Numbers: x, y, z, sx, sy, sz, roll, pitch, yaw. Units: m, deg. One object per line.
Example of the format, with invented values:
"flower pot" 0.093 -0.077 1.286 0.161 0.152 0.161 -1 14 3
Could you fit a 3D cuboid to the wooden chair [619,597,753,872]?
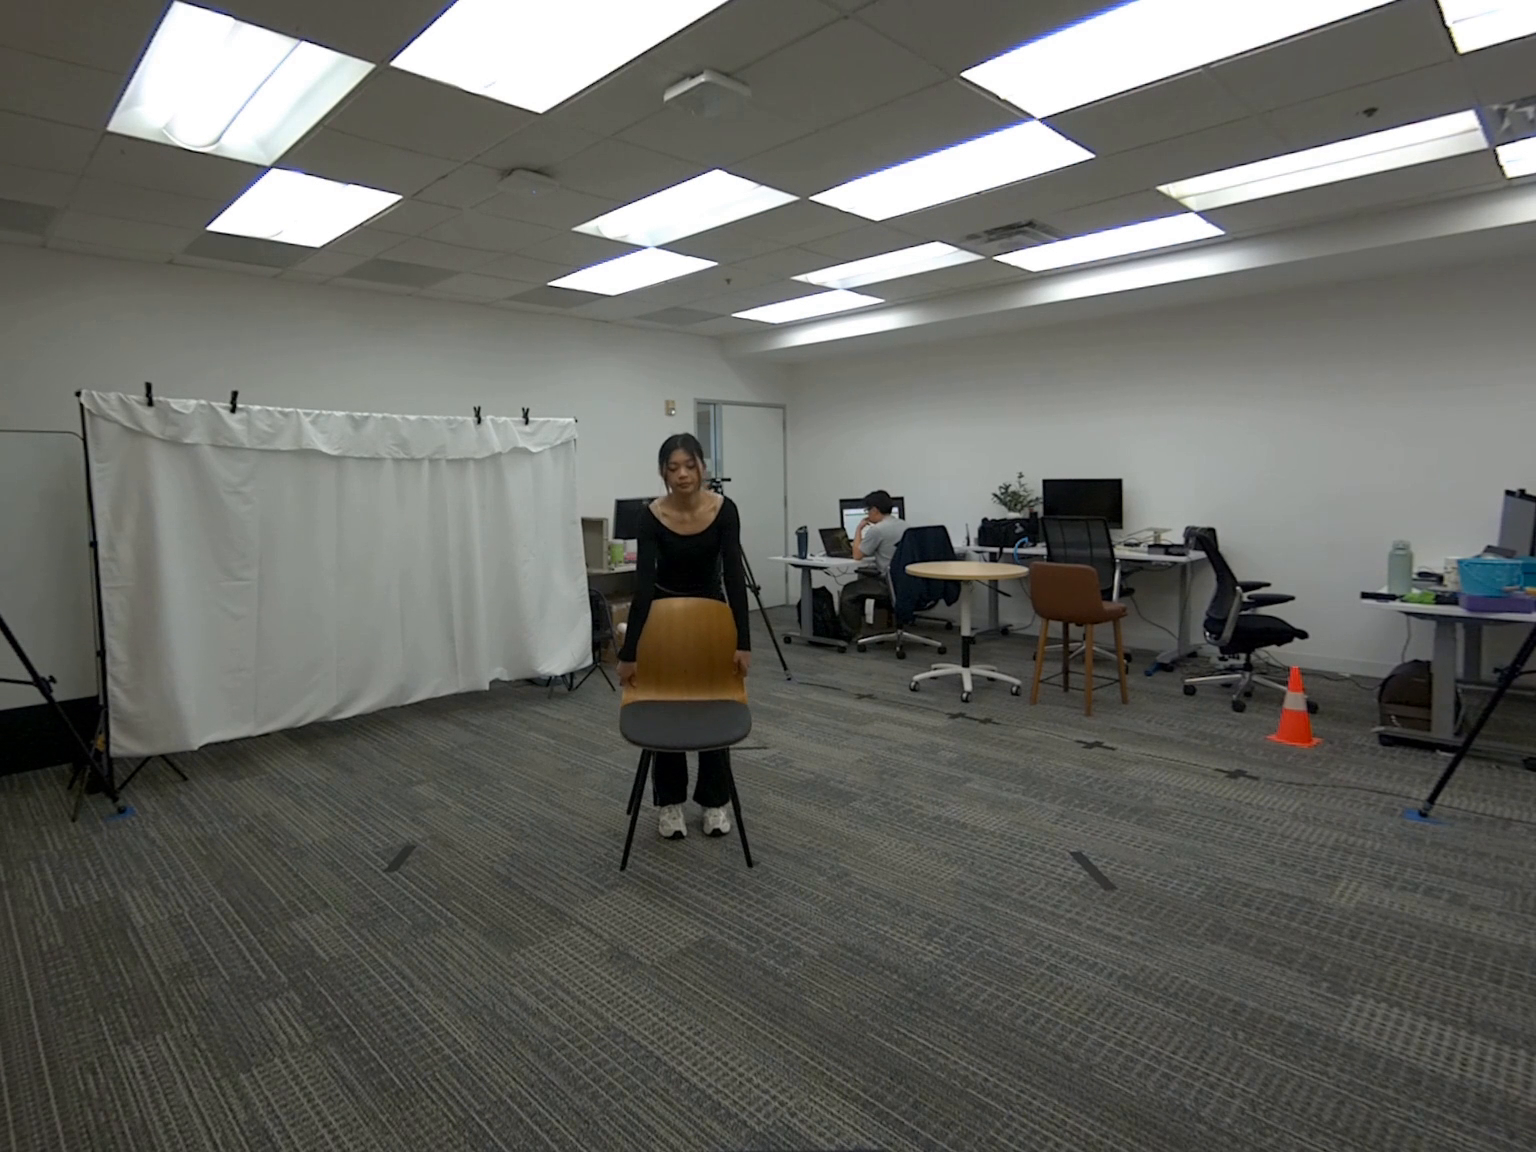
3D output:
"wooden chair" -0.299 0.543 3.067 0.475 0.876 0.527 0 2 -6
